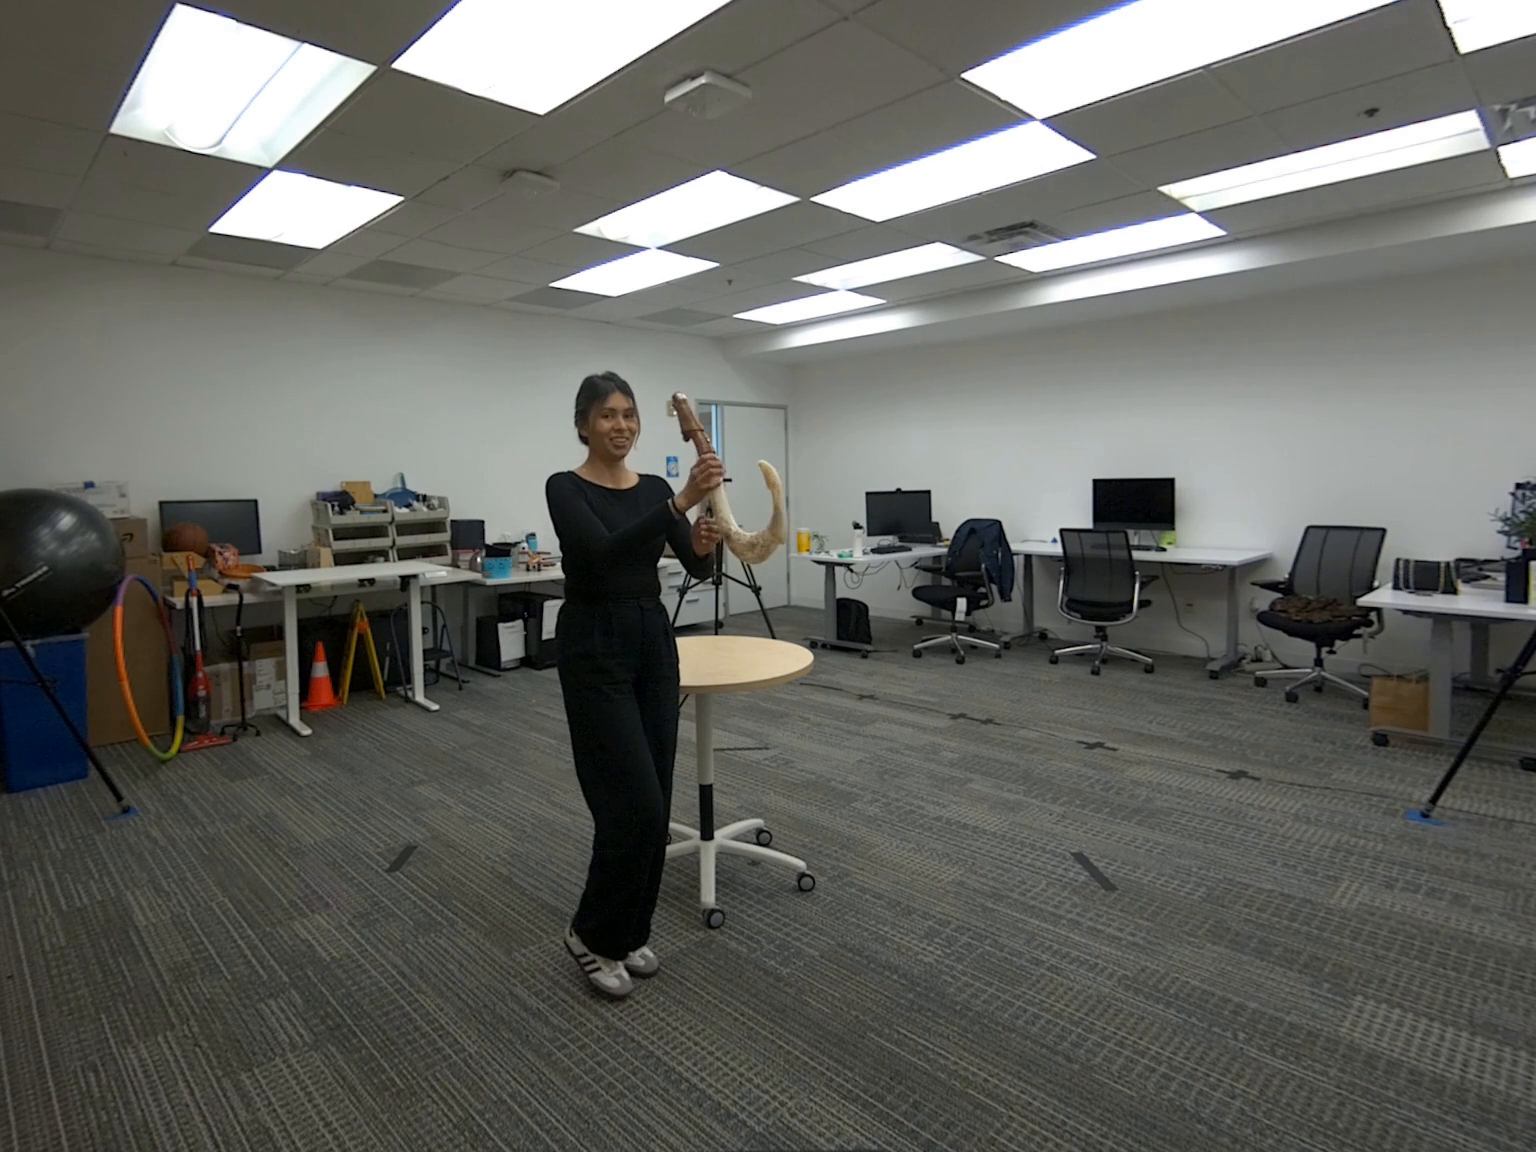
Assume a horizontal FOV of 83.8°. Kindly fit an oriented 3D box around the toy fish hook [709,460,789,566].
[{"bbox_3d":[-0.093,-0.263,2.024,0.047,0.519,0.225,1,-33,-49],"label":"toy fish hook"}]
